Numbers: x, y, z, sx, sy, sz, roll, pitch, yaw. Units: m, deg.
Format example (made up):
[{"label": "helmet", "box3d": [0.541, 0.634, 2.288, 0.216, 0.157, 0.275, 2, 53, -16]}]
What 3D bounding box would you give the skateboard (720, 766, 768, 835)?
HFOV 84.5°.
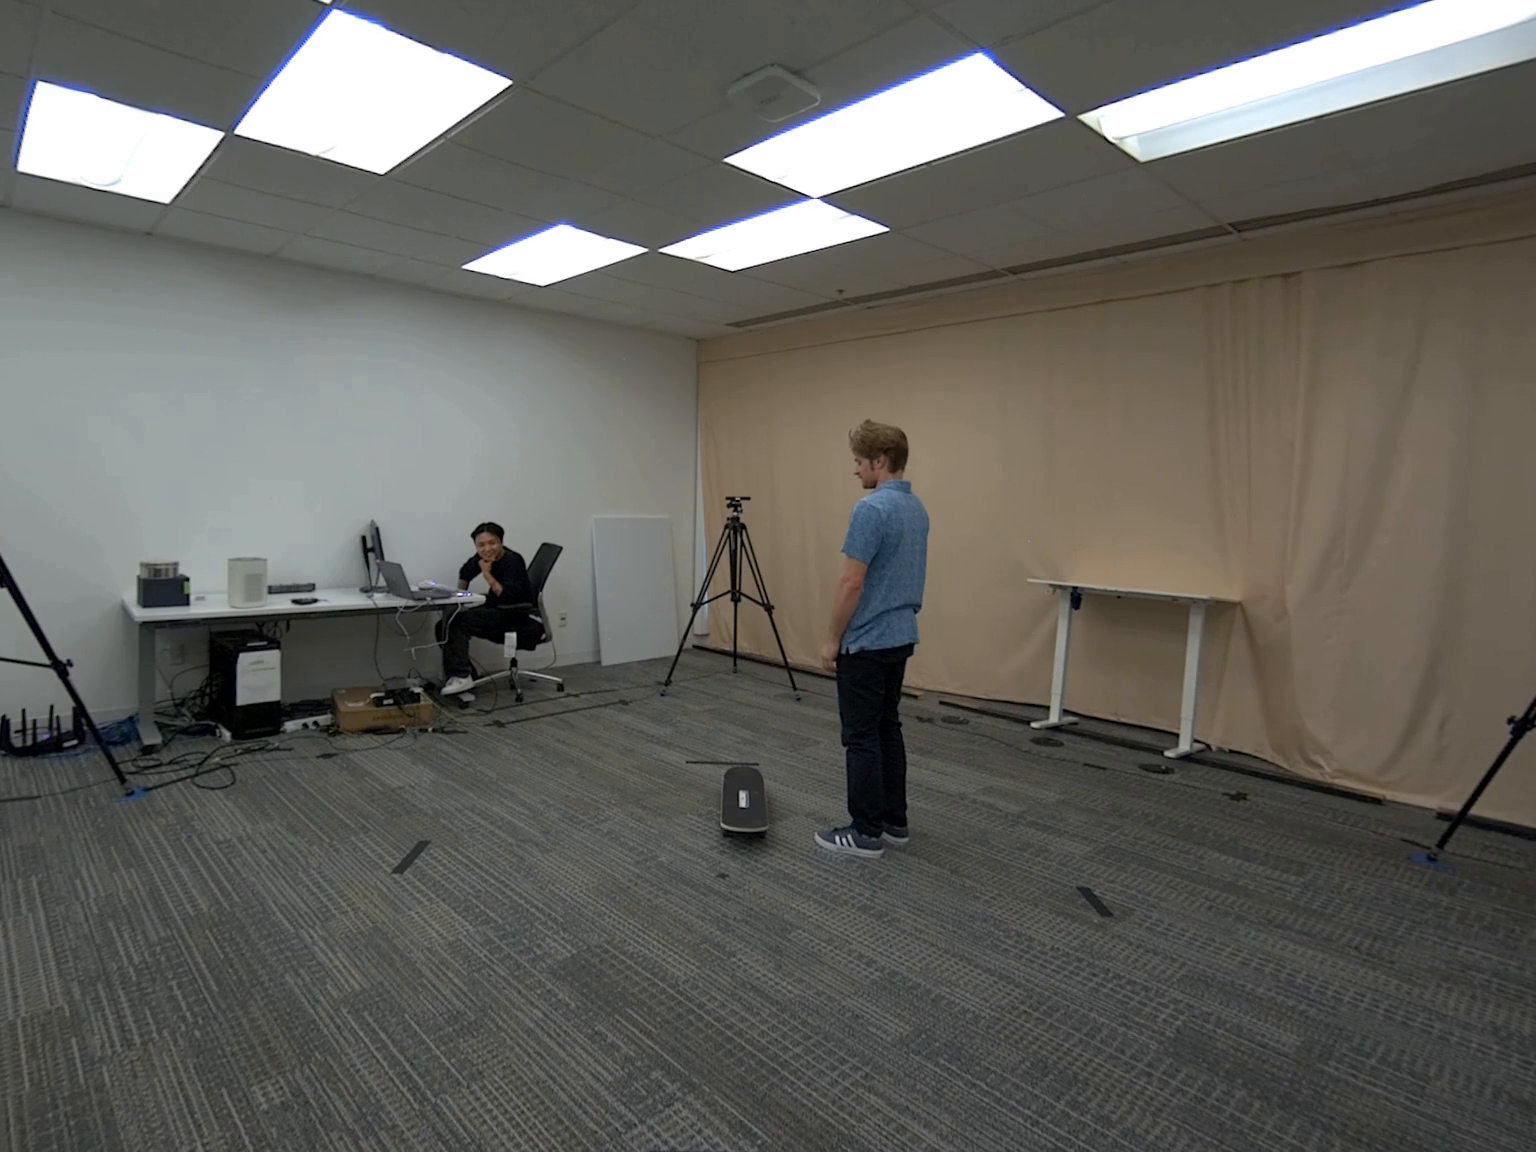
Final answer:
[{"label": "skateboard", "box3d": [-0.112, 1.001, 3.670, 0.193, 0.110, 0.788, 1, 5, -2]}]
